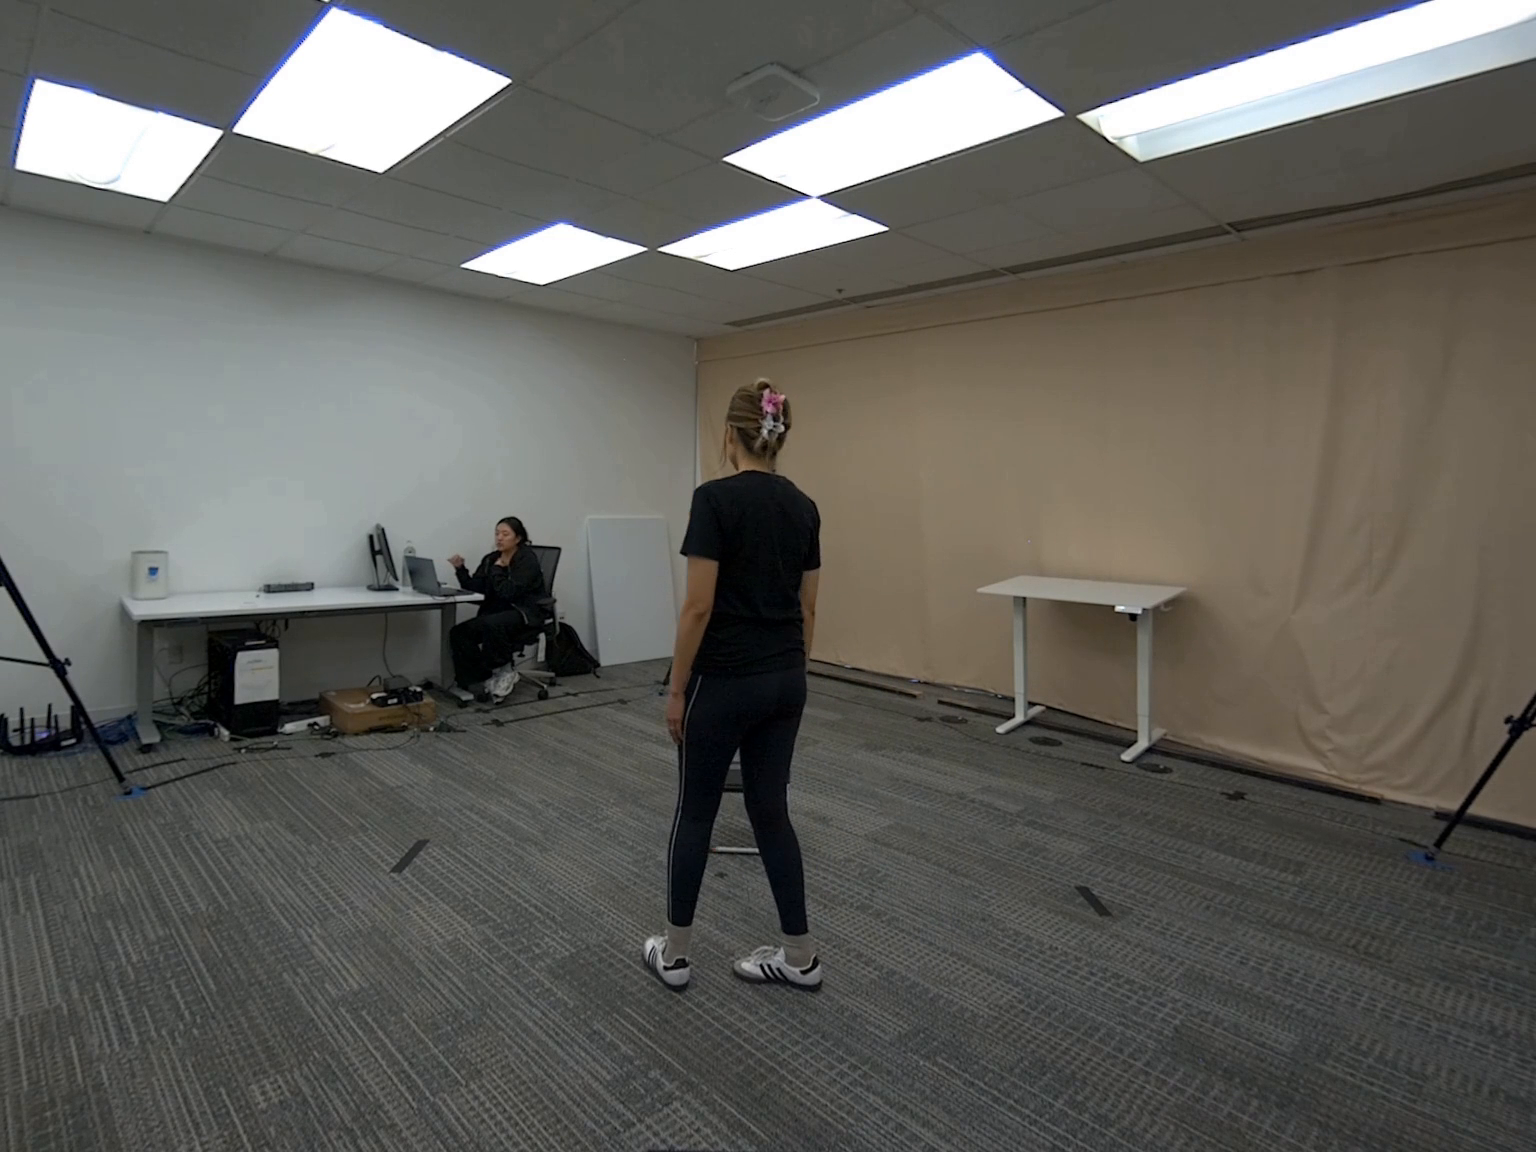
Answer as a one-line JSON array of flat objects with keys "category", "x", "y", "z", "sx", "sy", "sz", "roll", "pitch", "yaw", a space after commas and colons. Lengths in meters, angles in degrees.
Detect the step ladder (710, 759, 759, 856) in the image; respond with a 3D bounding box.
[{"category": "step ladder", "x": -0.122, "y": 0.779, "z": 3.427, "sx": 0.431, "sy": 0.605, "sz": 0.350, "roll": 1, "pitch": 3, "yaw": 0}]
